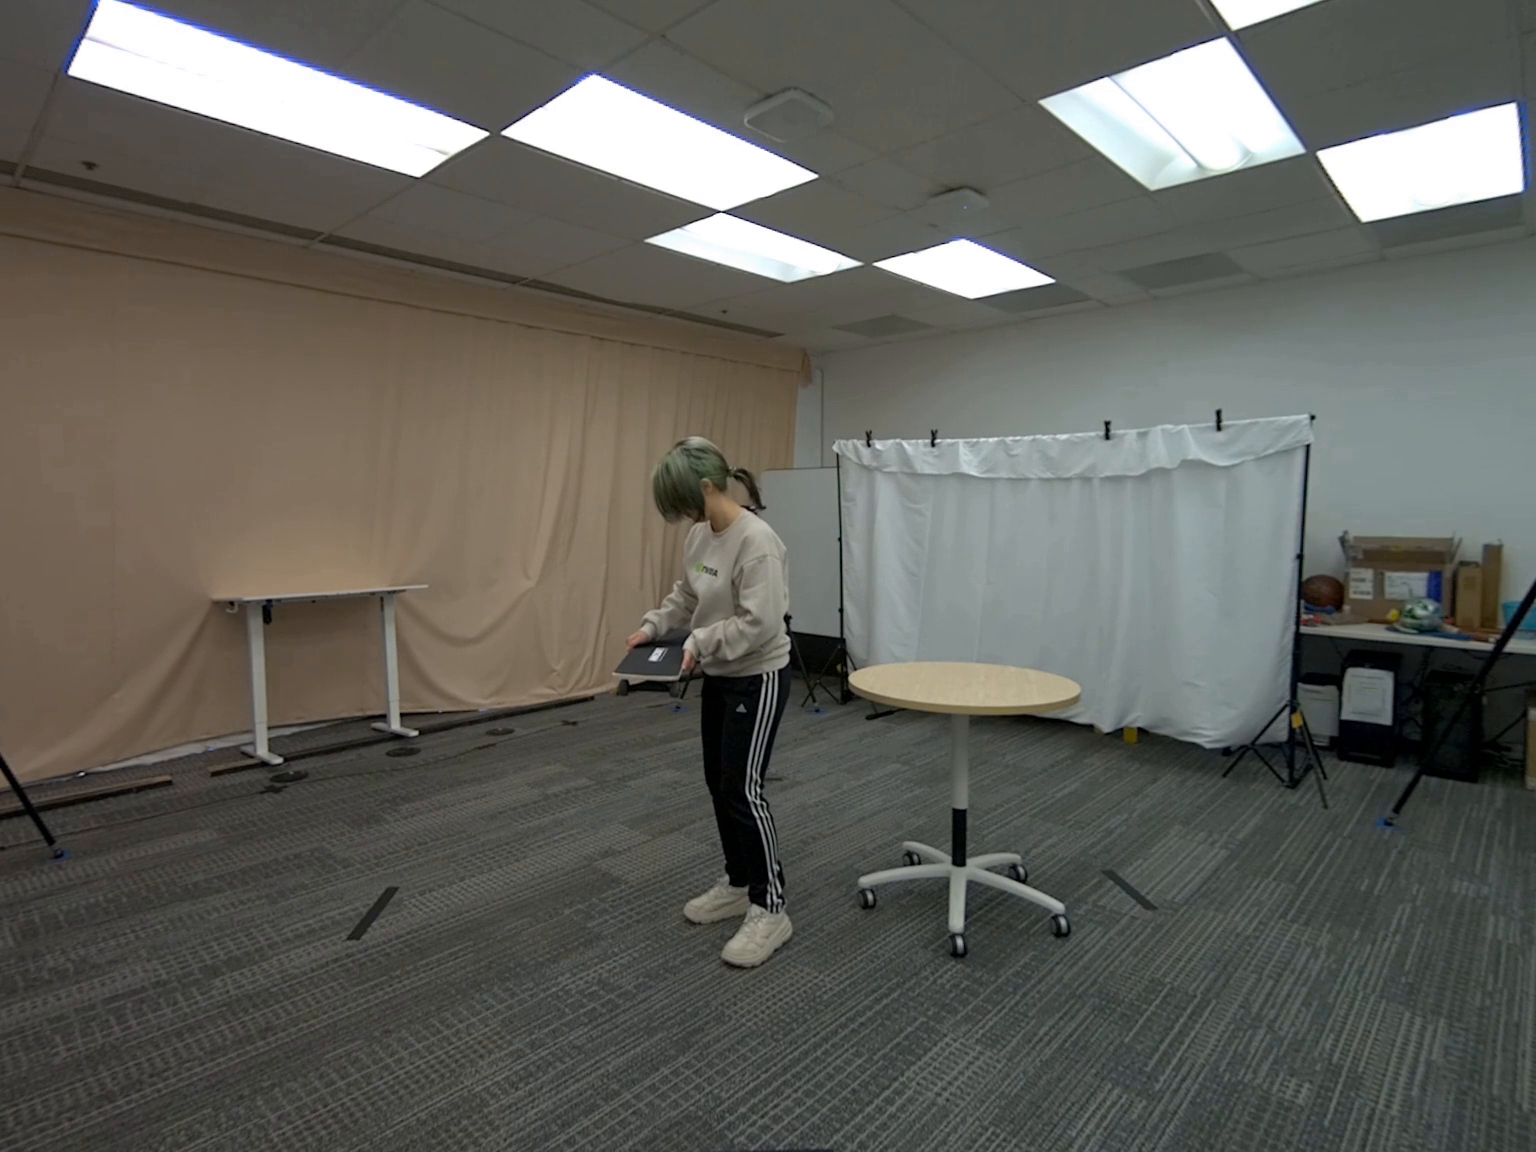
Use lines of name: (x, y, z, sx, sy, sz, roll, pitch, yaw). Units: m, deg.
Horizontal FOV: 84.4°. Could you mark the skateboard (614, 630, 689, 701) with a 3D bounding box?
skateboard: (-0.351, 0.300, 2.705, 0.193, 0.110, 0.790, 1, 7, -4)
